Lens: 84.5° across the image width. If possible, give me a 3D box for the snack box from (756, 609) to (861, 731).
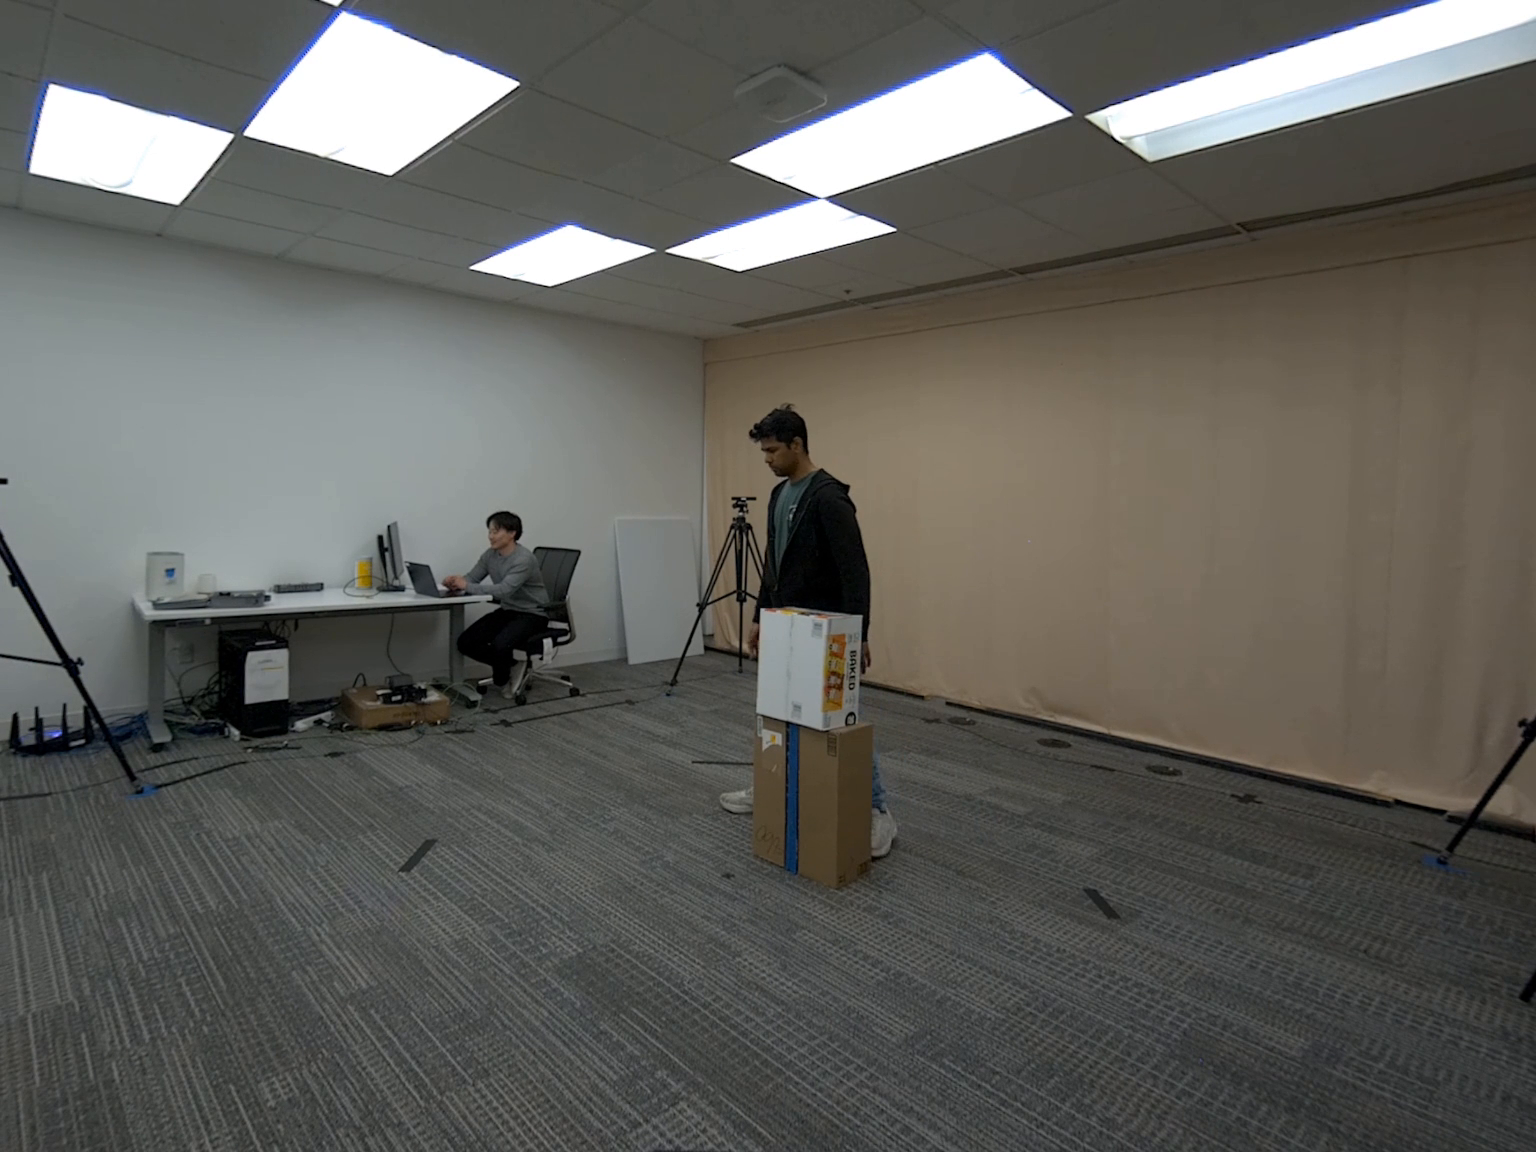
[{"bbox_3d":[0.140,0.337,3.176,0.201,0.405,0.349,1,3,-44],"label":"snack box"}]
